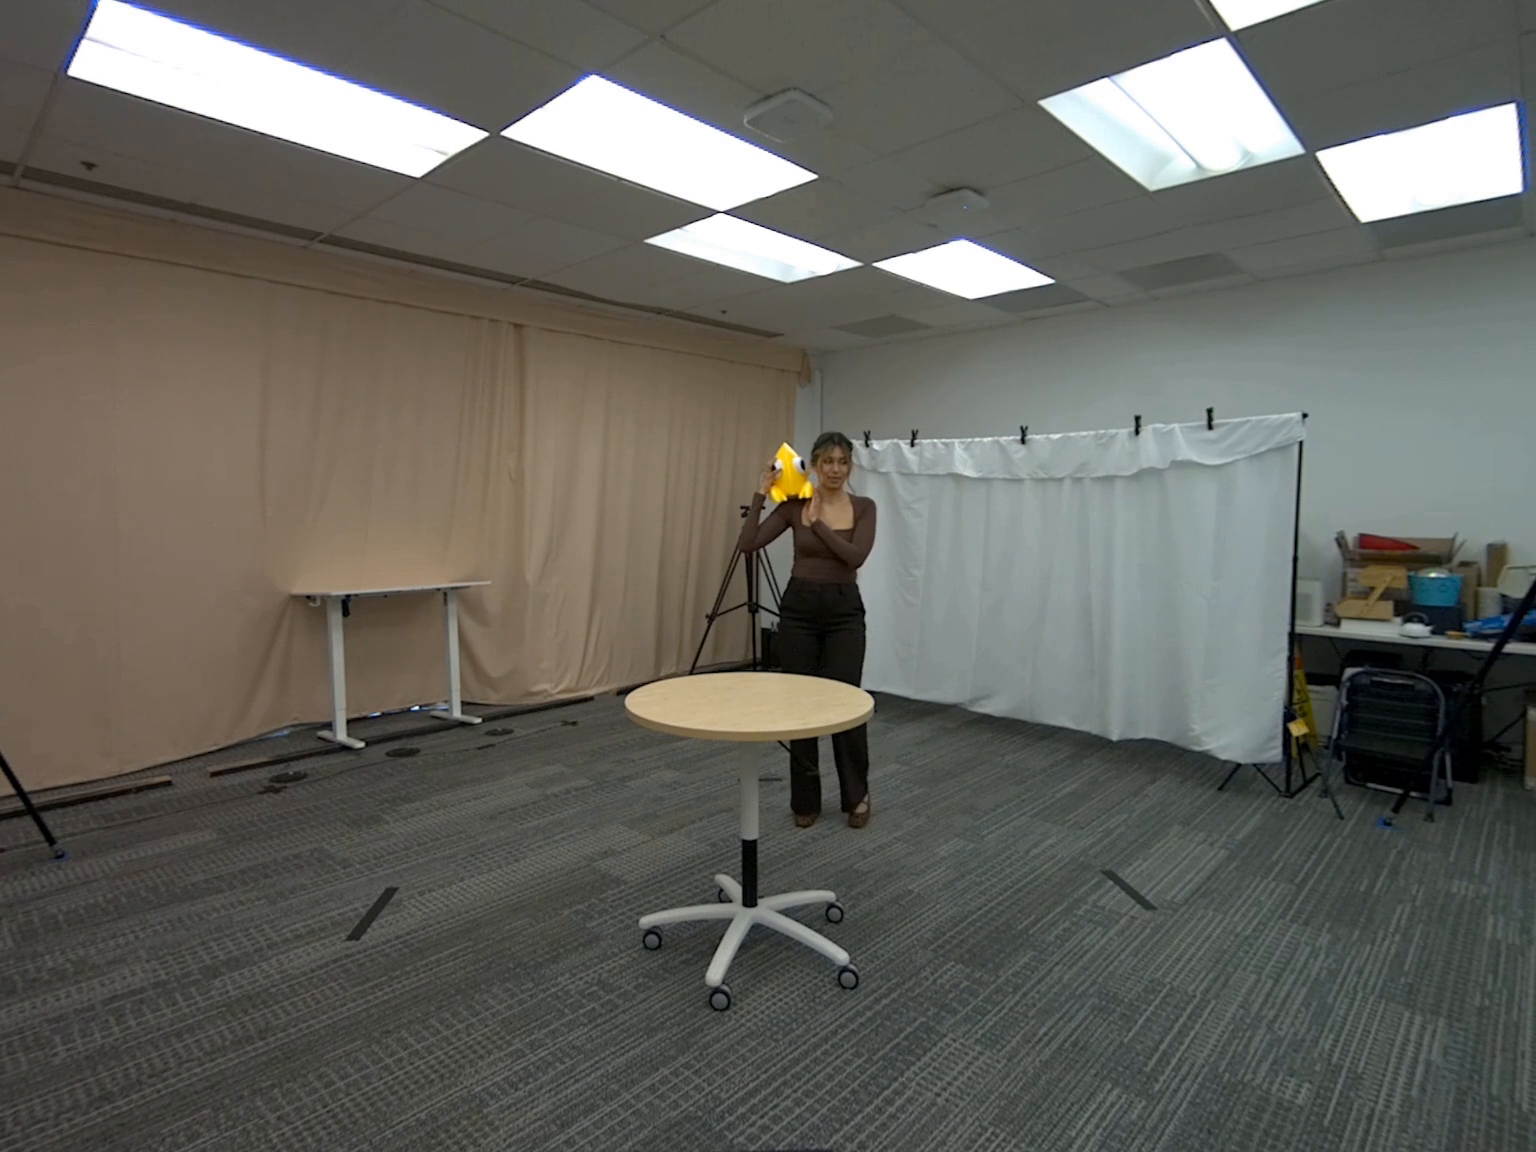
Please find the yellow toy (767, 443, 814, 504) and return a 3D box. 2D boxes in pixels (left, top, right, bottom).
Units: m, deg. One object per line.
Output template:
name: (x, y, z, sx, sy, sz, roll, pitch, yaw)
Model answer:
yellow toy: (0.100, -0.460, 3.701, 0.206, 0.228, 0.194, -8, 16, 3)
